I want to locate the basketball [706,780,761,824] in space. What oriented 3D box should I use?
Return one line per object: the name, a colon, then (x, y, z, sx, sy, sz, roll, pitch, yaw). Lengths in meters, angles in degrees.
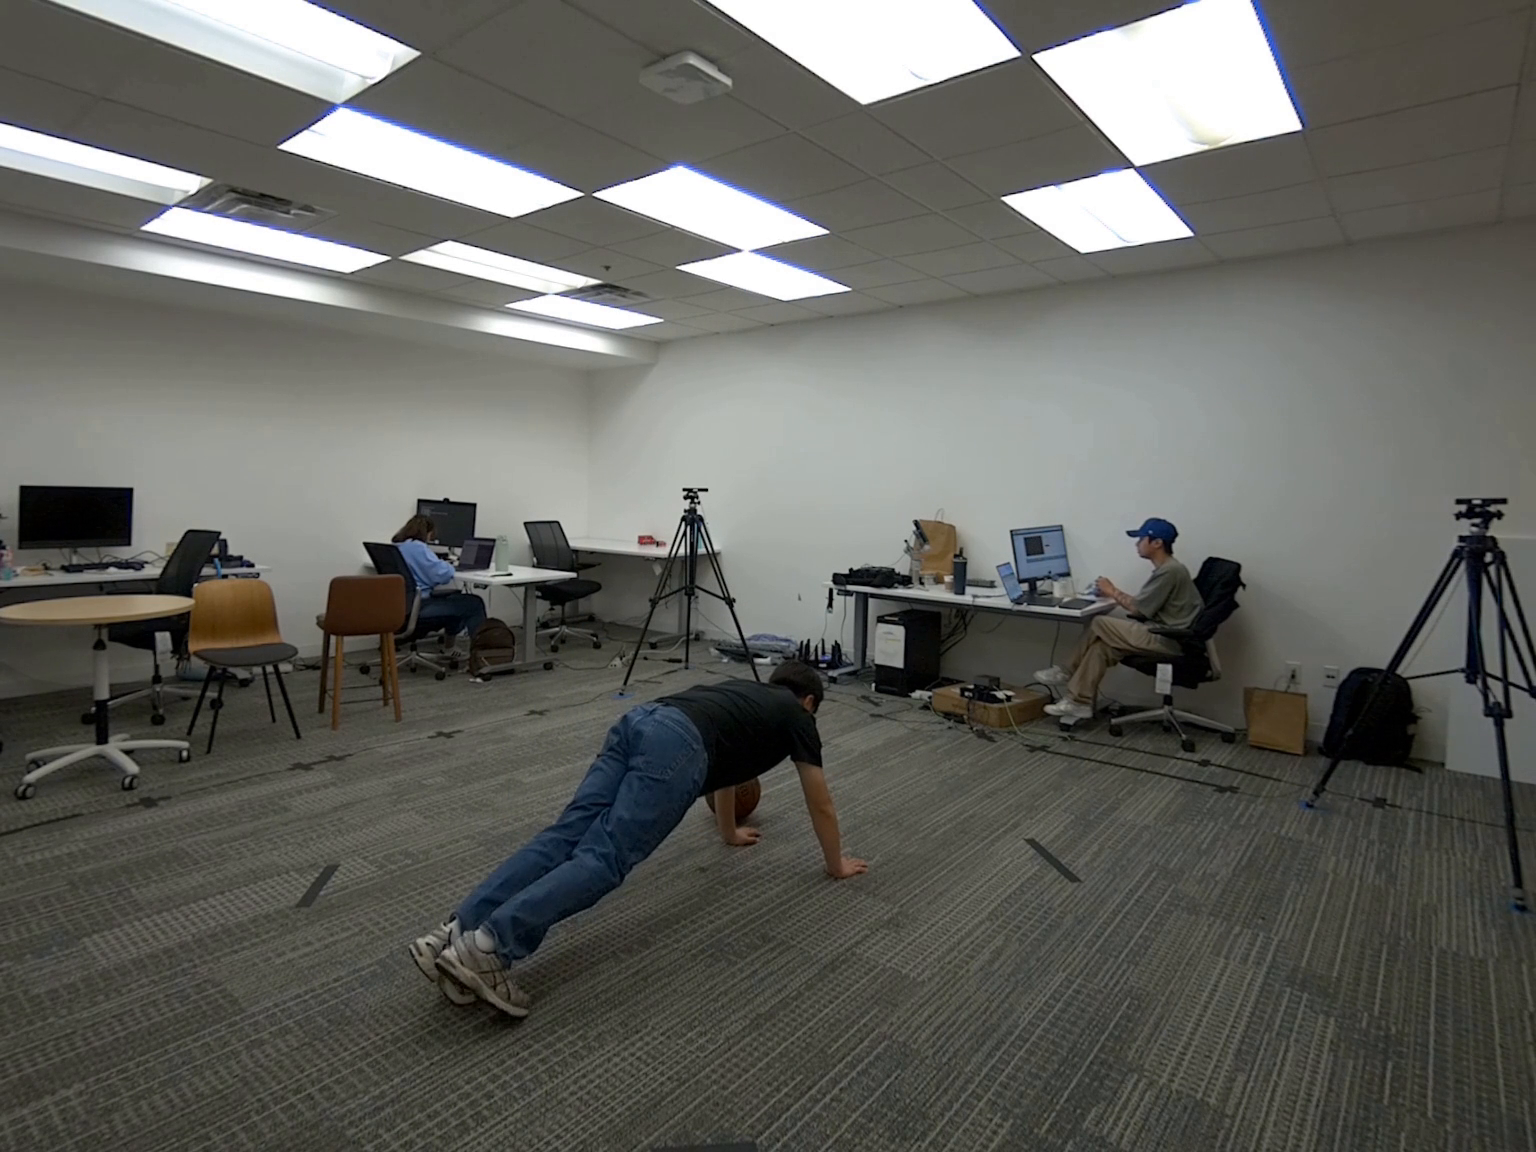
basketball: (-0.155, 0.897, 3.597, 0.235, 0.235, 0.237, 1, 4, -2)
